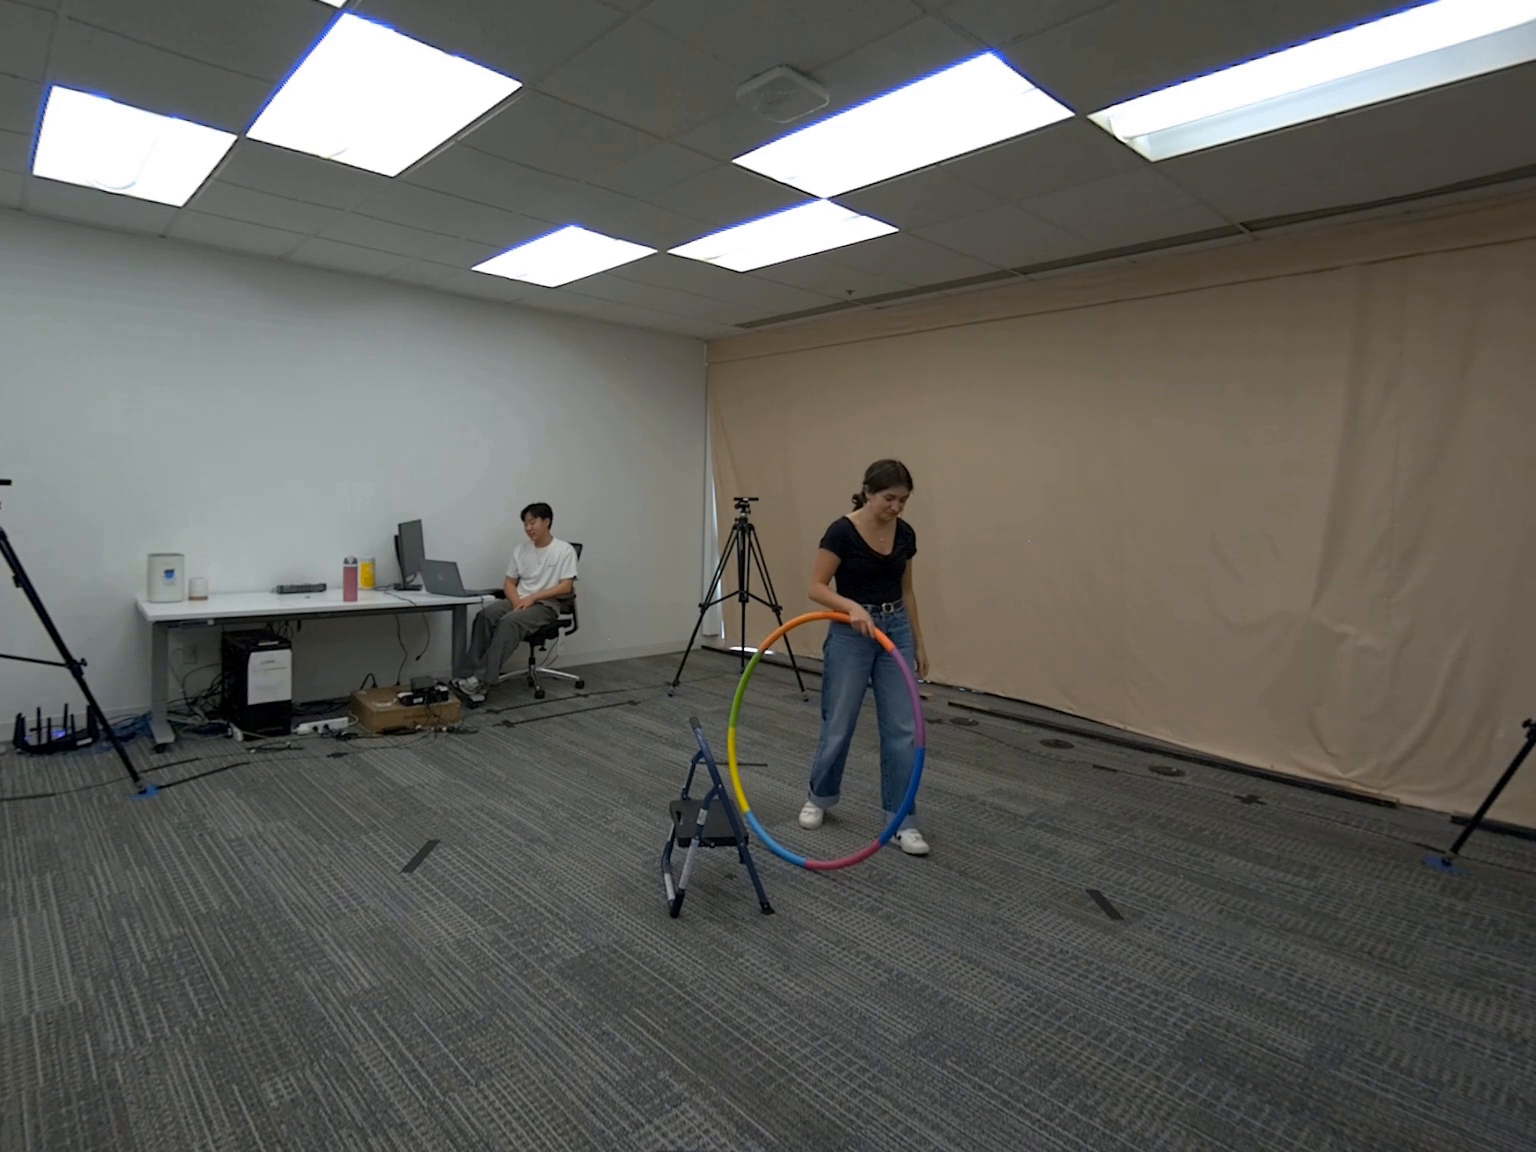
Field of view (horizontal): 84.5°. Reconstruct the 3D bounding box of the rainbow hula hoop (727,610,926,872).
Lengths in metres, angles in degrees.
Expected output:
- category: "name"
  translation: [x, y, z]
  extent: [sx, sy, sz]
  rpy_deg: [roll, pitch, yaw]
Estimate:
- category: "rainbow hula hoop"
  translation: [0.180, 0.627, 3.279]
  extent: [0.034, 0.982, 1.004]
  rpy_deg: [18, -8, -43]
